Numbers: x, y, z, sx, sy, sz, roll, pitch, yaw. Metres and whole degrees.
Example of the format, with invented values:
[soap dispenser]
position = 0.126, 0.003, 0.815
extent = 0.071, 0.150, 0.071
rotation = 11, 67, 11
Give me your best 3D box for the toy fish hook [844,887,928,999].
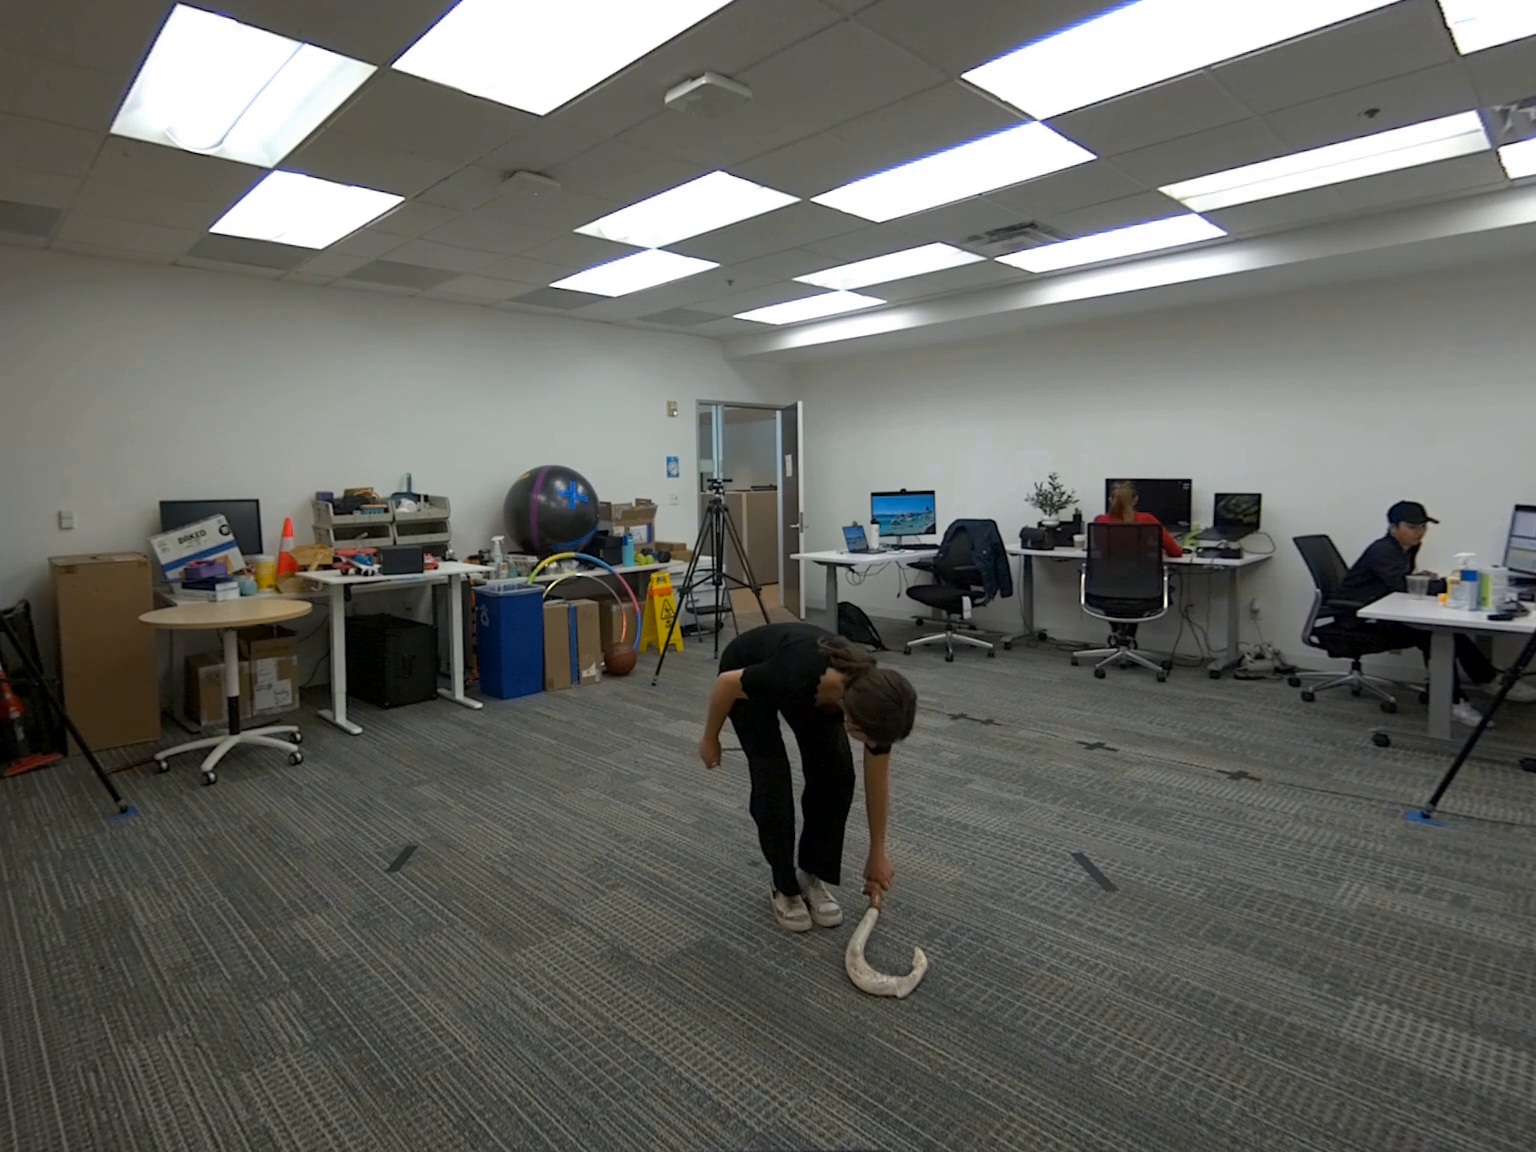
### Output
[toy fish hook]
position = 0.362, 1.049, 2.519
extent = 0.227, 0.047, 0.508
rotation = 7, 20, 9
